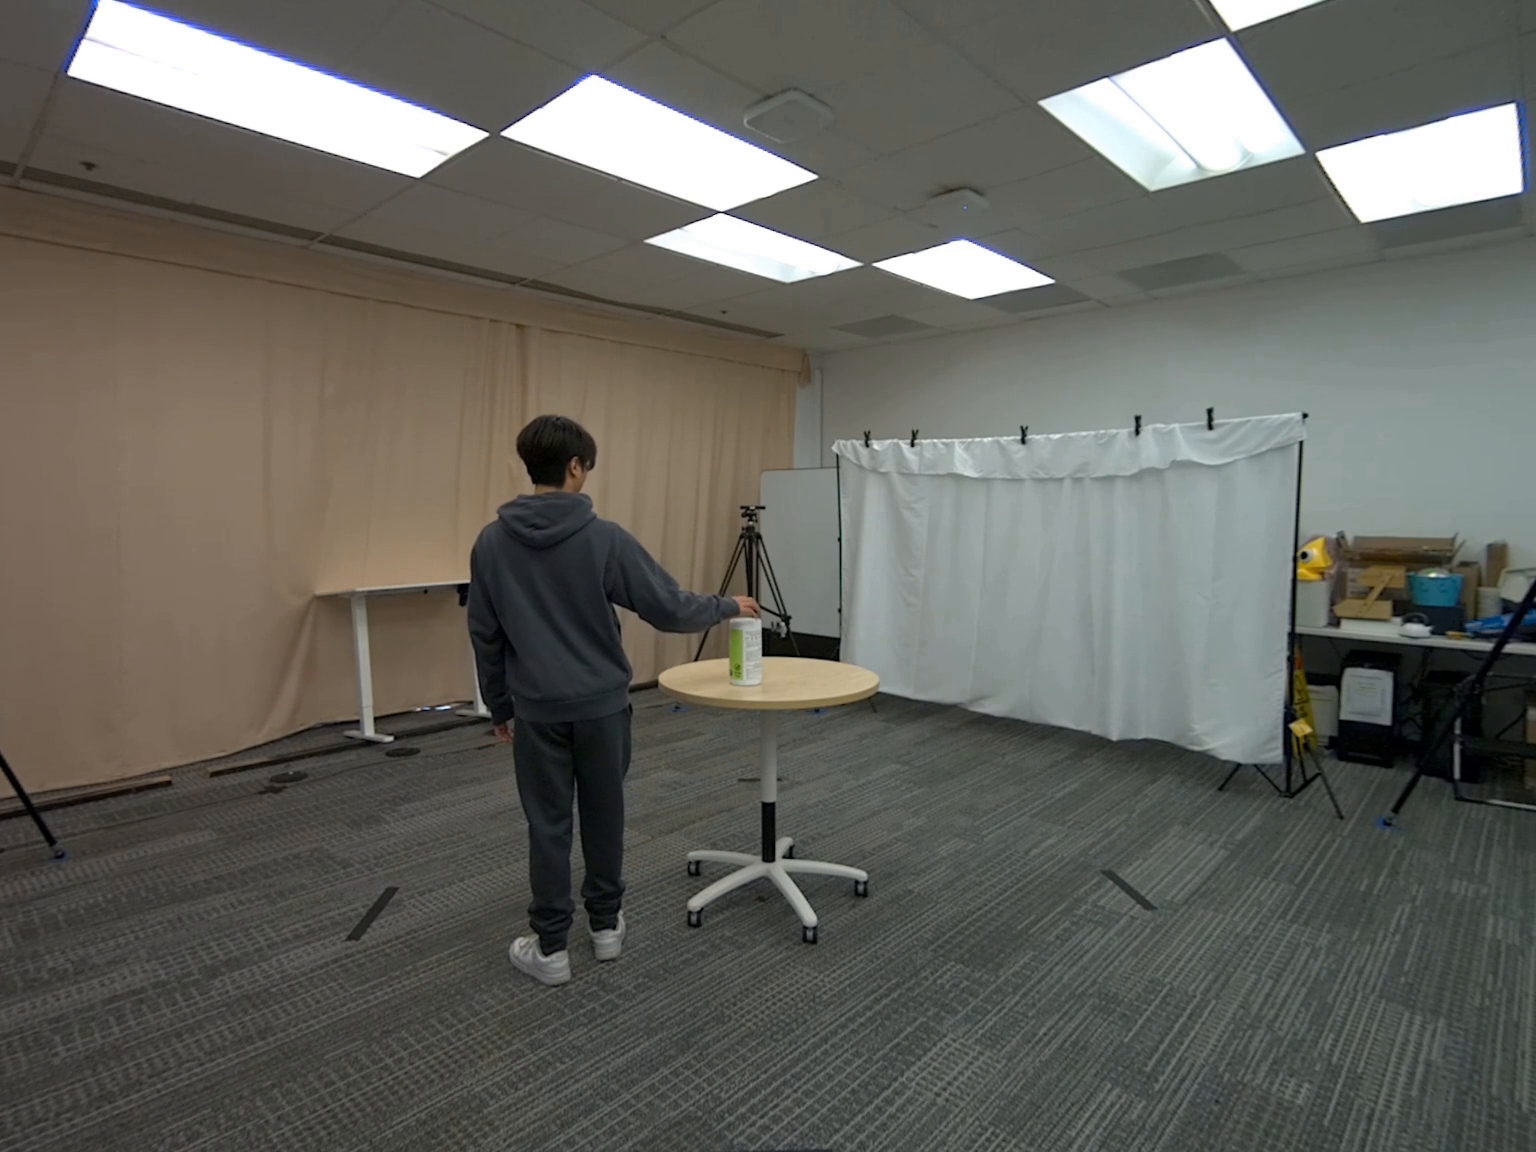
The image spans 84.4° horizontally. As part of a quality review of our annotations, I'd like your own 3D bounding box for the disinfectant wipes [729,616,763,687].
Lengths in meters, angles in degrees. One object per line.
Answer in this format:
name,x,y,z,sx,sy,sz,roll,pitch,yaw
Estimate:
disinfectant wipes,-0.065,0.255,2.827,0.118,0.217,0.118,-2,4,-2
